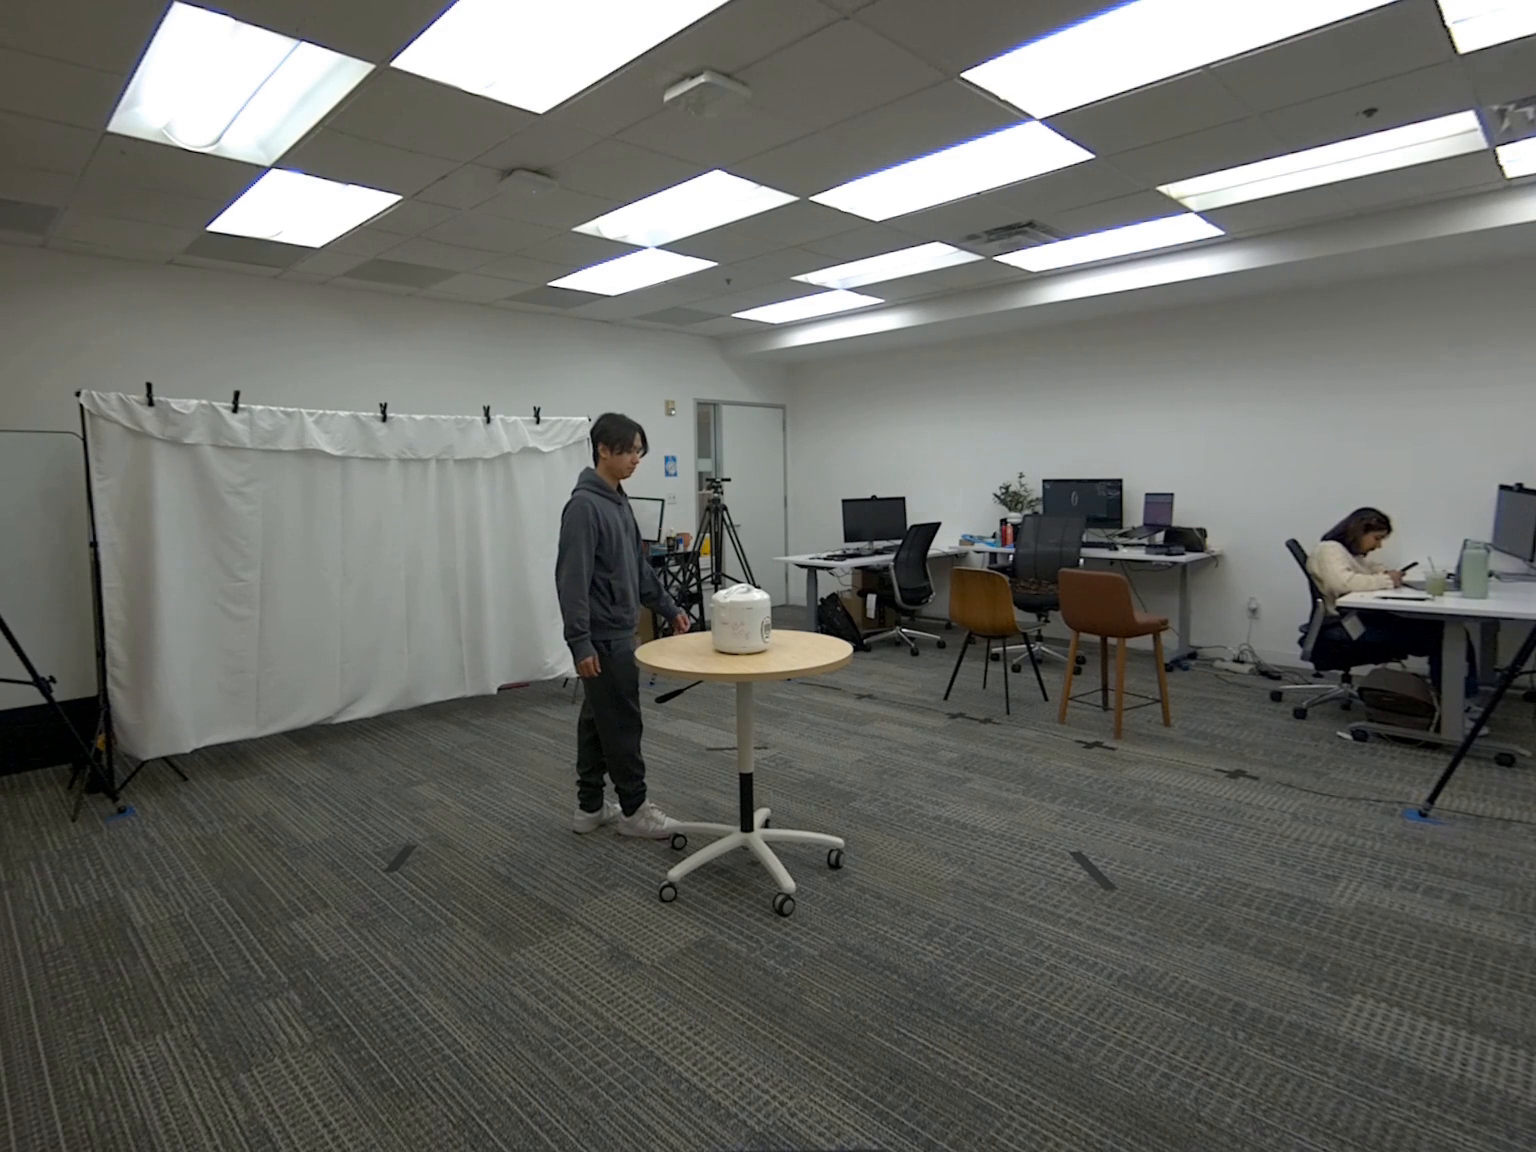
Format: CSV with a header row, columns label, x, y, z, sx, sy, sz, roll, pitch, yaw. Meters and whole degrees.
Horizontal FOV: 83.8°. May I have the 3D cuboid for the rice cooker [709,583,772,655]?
label,x,y,z,sx,sy,sz,roll,pitch,yaw
rice cooker,-0.090,0.139,2.983,0.223,0.232,0.215,-1,5,35
